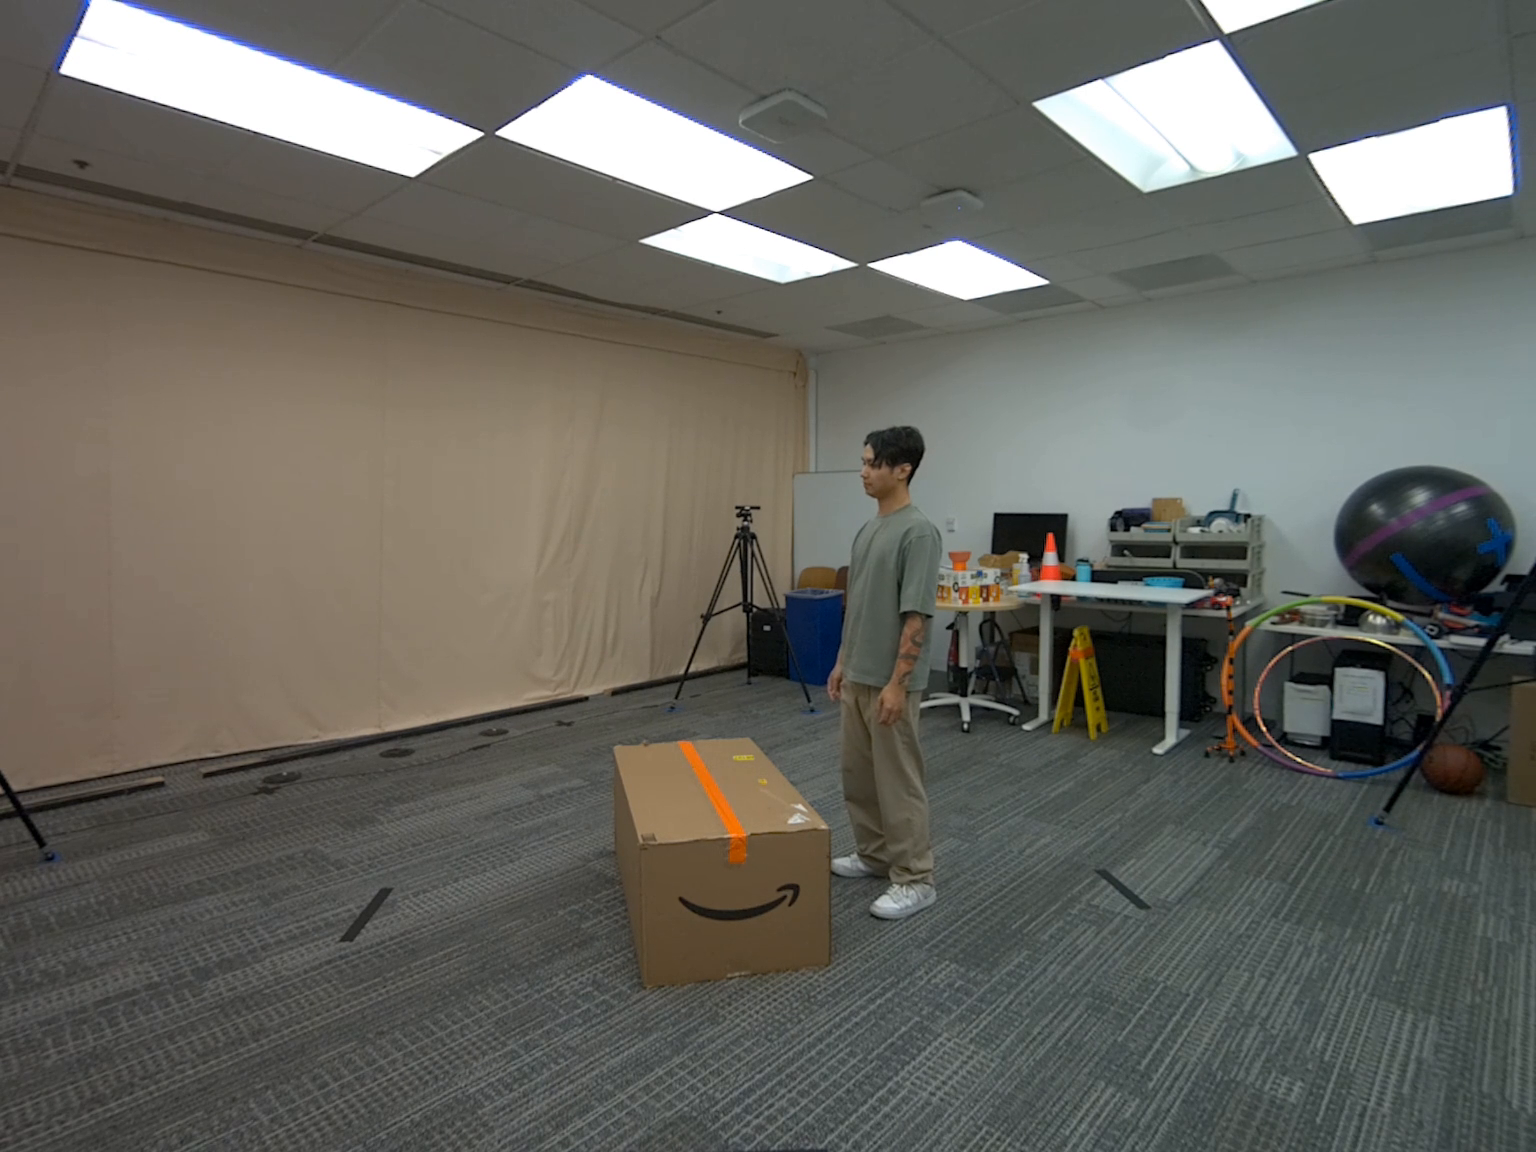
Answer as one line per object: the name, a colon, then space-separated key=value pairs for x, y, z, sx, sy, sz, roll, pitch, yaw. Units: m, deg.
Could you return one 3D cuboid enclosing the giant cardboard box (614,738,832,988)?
giant cardboard box: x=-0.218 y=0.930 z=2.974 sx=0.569 sy=0.425 sz=1.043 roll=-1 pitch=4 yaw=-14
